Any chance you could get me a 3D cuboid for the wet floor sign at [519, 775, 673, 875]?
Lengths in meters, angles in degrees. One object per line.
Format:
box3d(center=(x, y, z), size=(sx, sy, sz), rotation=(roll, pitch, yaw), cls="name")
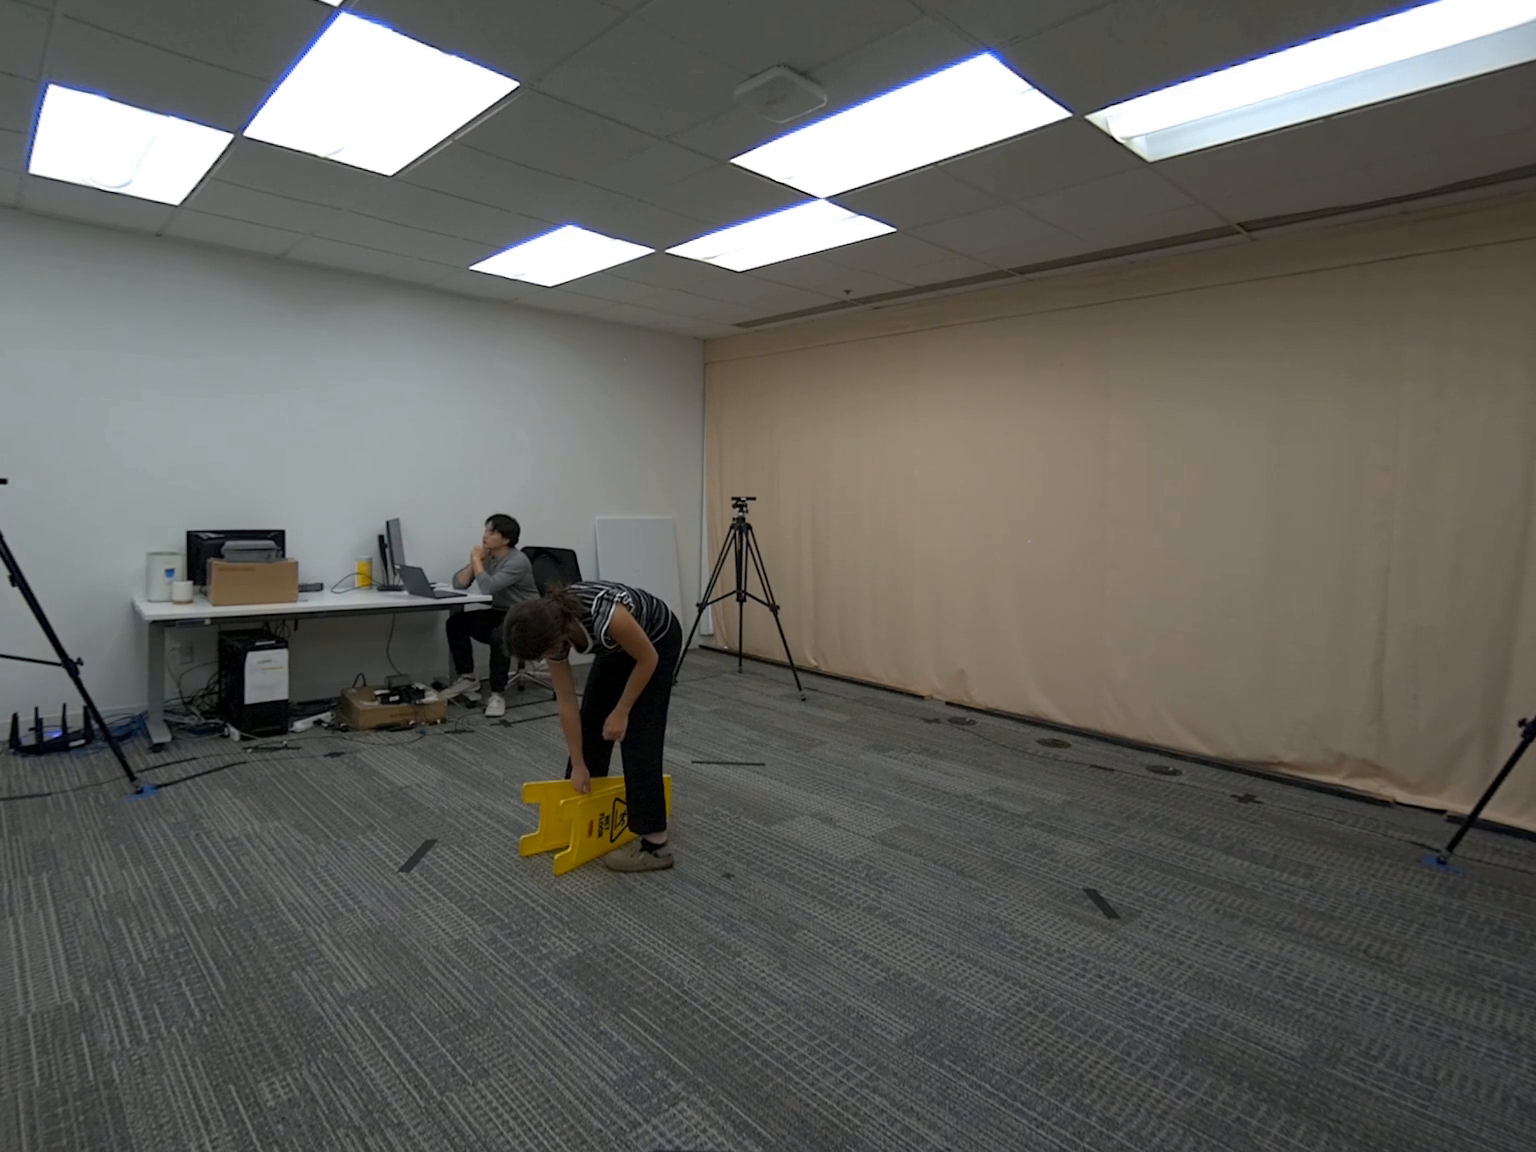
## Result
box3d(center=(-0.651, 0.947, 3.375), size=(0.297, 0.282, 0.630), rotation=(5, 3, 43), cls="wet floor sign")
